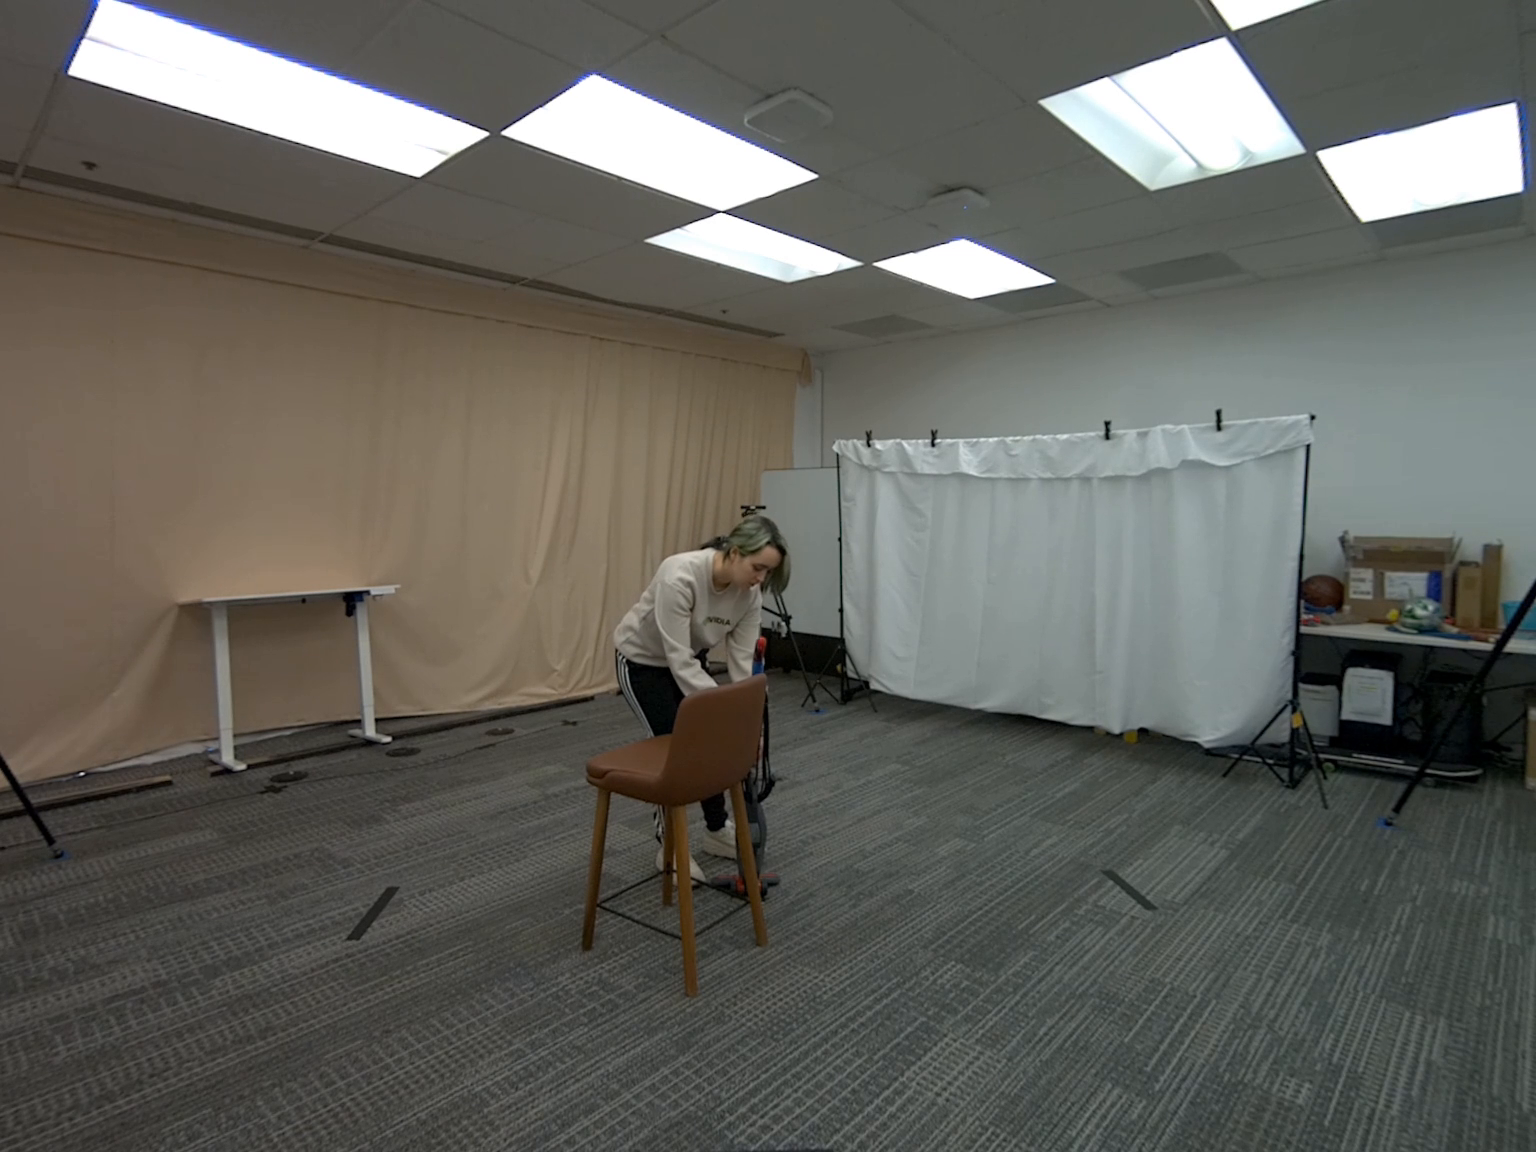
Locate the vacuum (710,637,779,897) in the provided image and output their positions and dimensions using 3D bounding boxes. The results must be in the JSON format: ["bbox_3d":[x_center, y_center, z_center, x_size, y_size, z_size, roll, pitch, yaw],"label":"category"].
[{"bbox_3d":[-0.048,0.668,2.827,0.248,1.035,0.148,-6,28,-19],"label":"vacuum"}]
